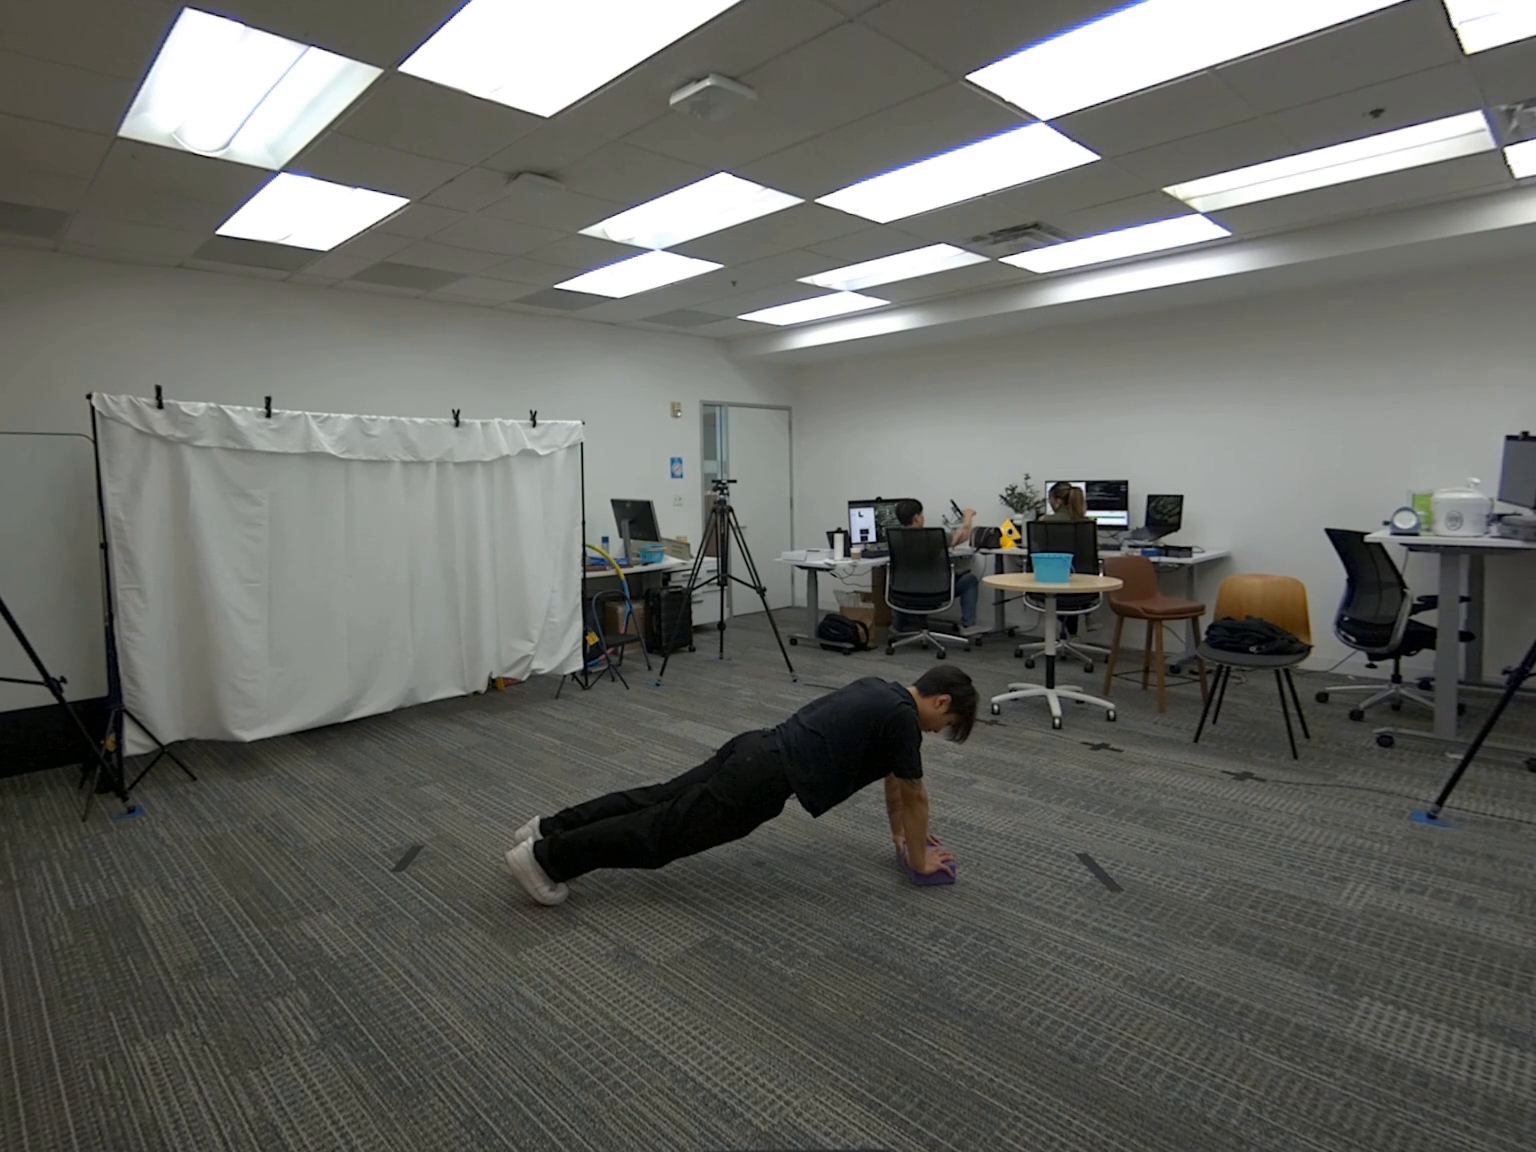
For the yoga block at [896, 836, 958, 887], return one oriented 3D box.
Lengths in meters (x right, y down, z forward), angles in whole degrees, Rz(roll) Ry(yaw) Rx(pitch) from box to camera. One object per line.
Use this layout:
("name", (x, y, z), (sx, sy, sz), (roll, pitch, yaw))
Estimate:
("yoga block", (0.554, 1.003, 3.025), (0.148, 0.076, 0.231), (-1, 5, -7))
